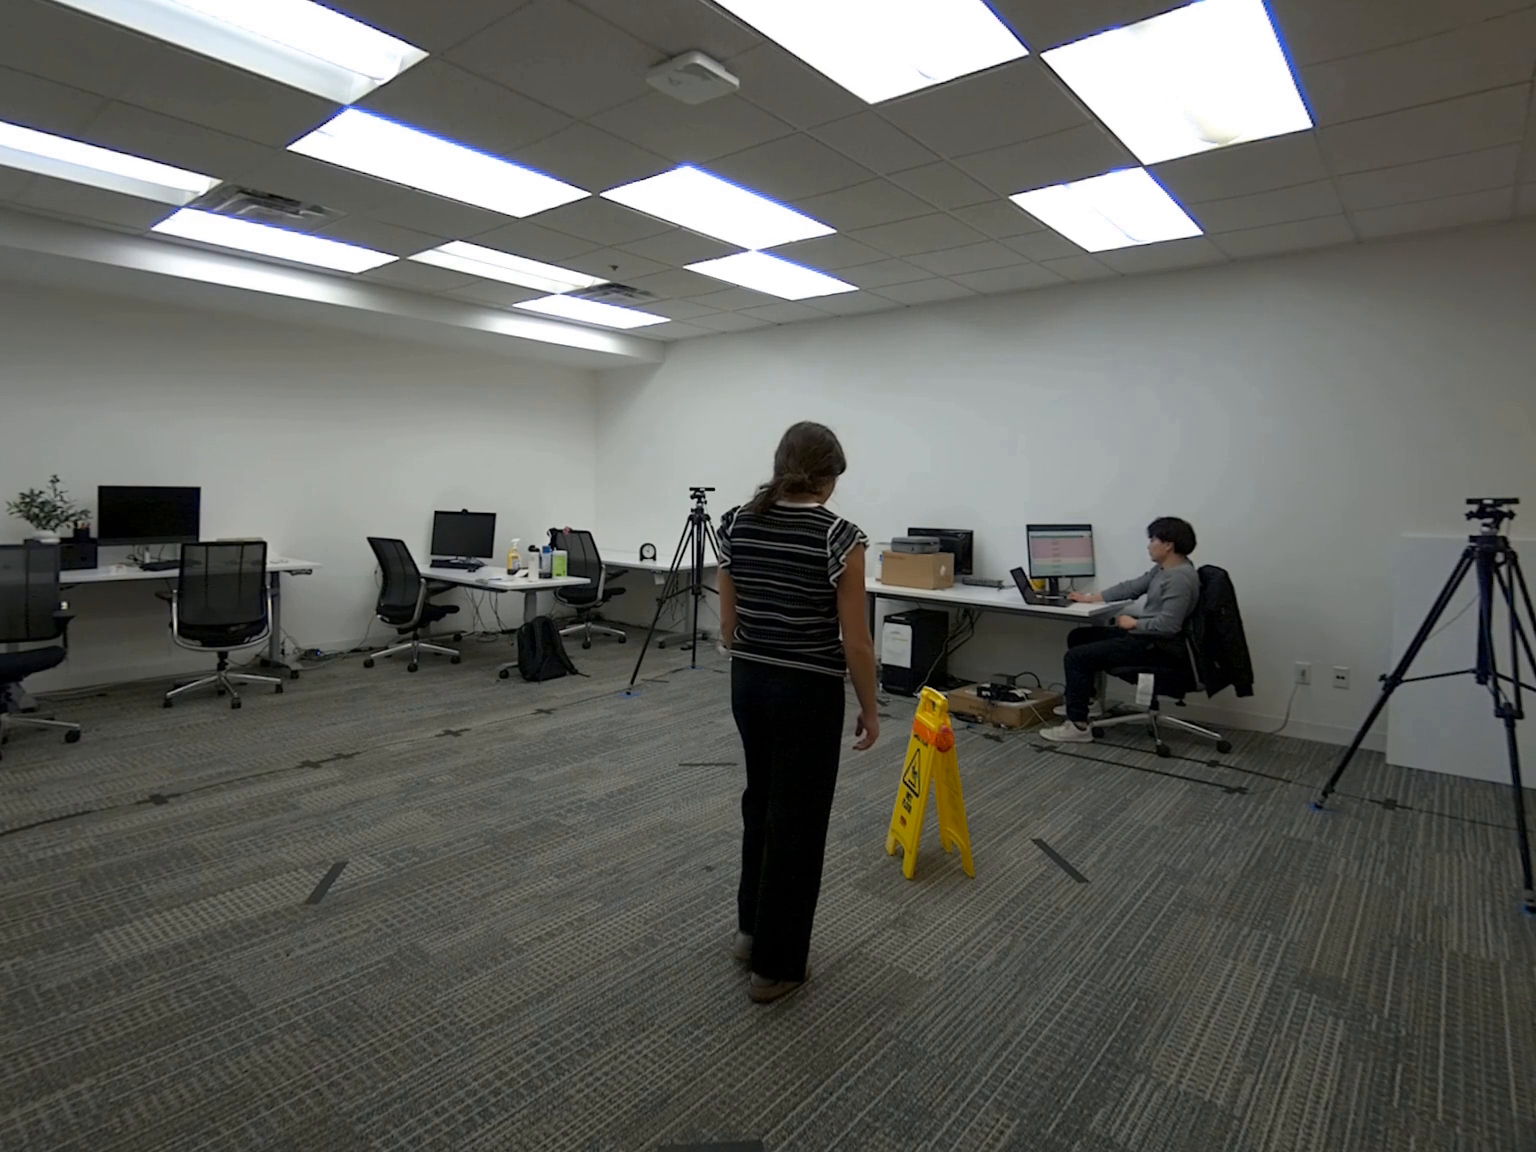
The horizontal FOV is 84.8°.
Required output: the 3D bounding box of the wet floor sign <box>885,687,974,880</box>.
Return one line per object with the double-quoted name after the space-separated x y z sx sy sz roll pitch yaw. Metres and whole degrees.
0.611 0.751 3.188 0.287 0.643 0.286 1 4 -9 "wet floor sign"
